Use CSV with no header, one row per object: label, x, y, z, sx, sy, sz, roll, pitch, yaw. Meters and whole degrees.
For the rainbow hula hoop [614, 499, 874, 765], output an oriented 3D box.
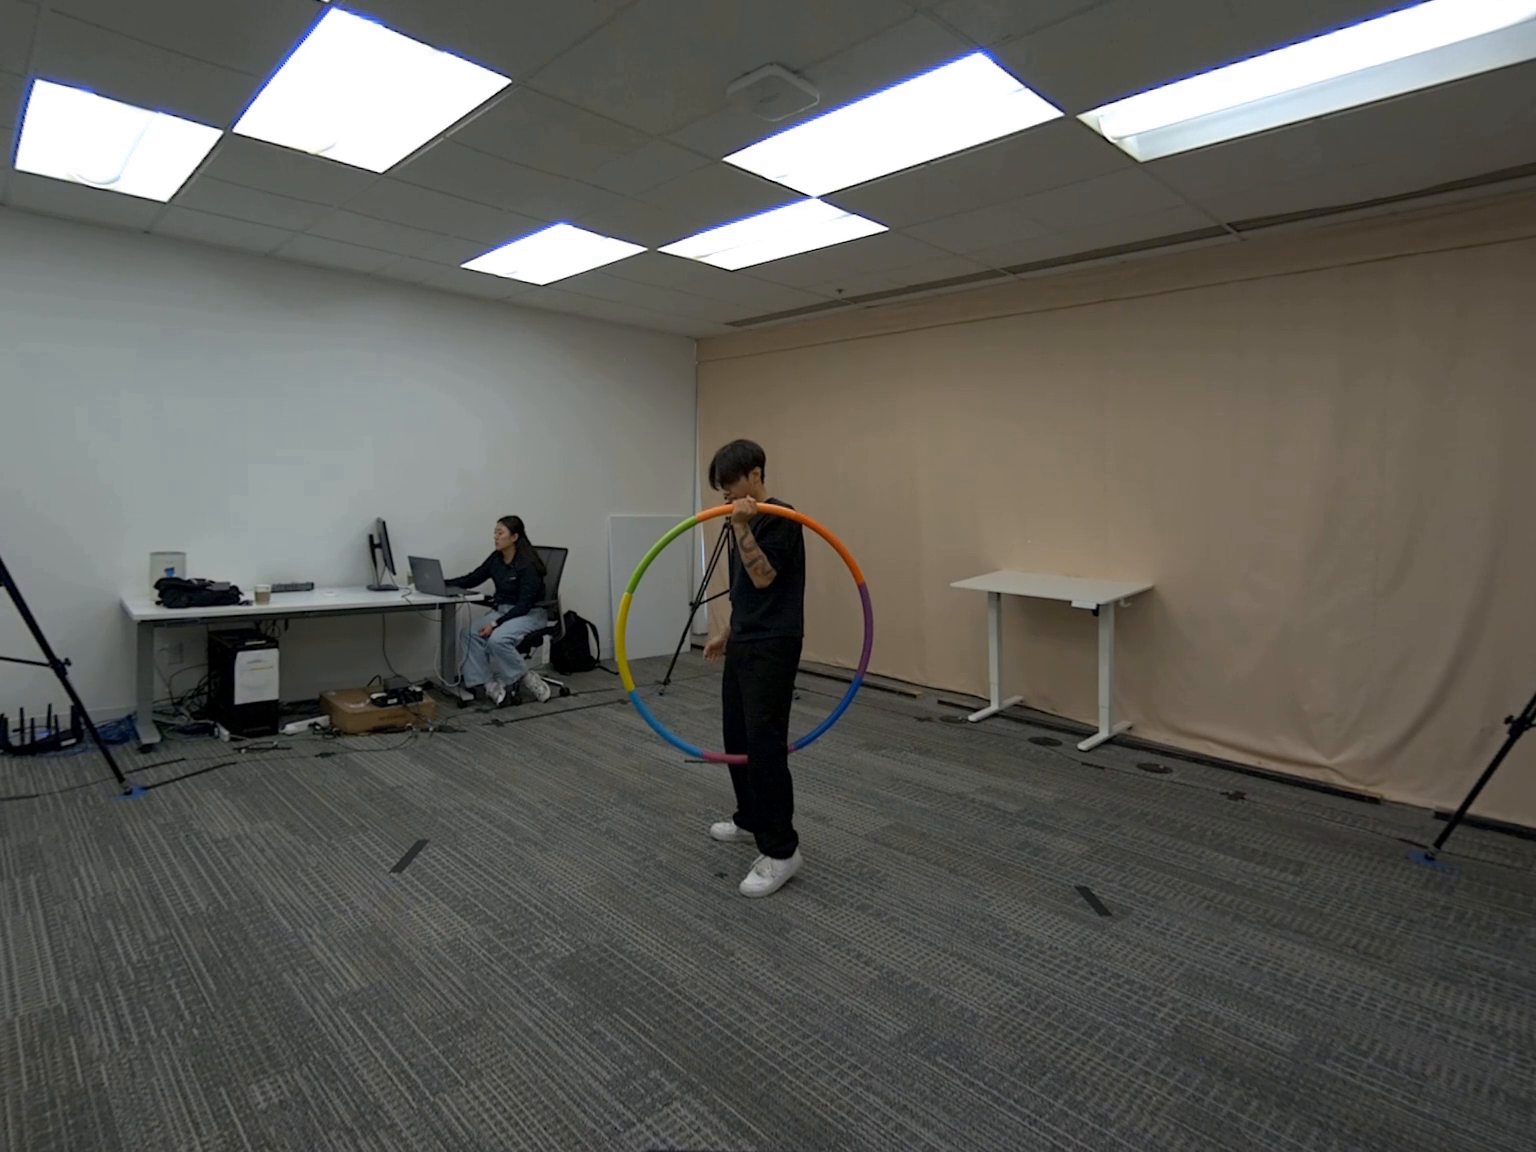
rainbow hula hoop,-0.083,0.213,3.149,0.972,0.973,0.036,1,7,-7
